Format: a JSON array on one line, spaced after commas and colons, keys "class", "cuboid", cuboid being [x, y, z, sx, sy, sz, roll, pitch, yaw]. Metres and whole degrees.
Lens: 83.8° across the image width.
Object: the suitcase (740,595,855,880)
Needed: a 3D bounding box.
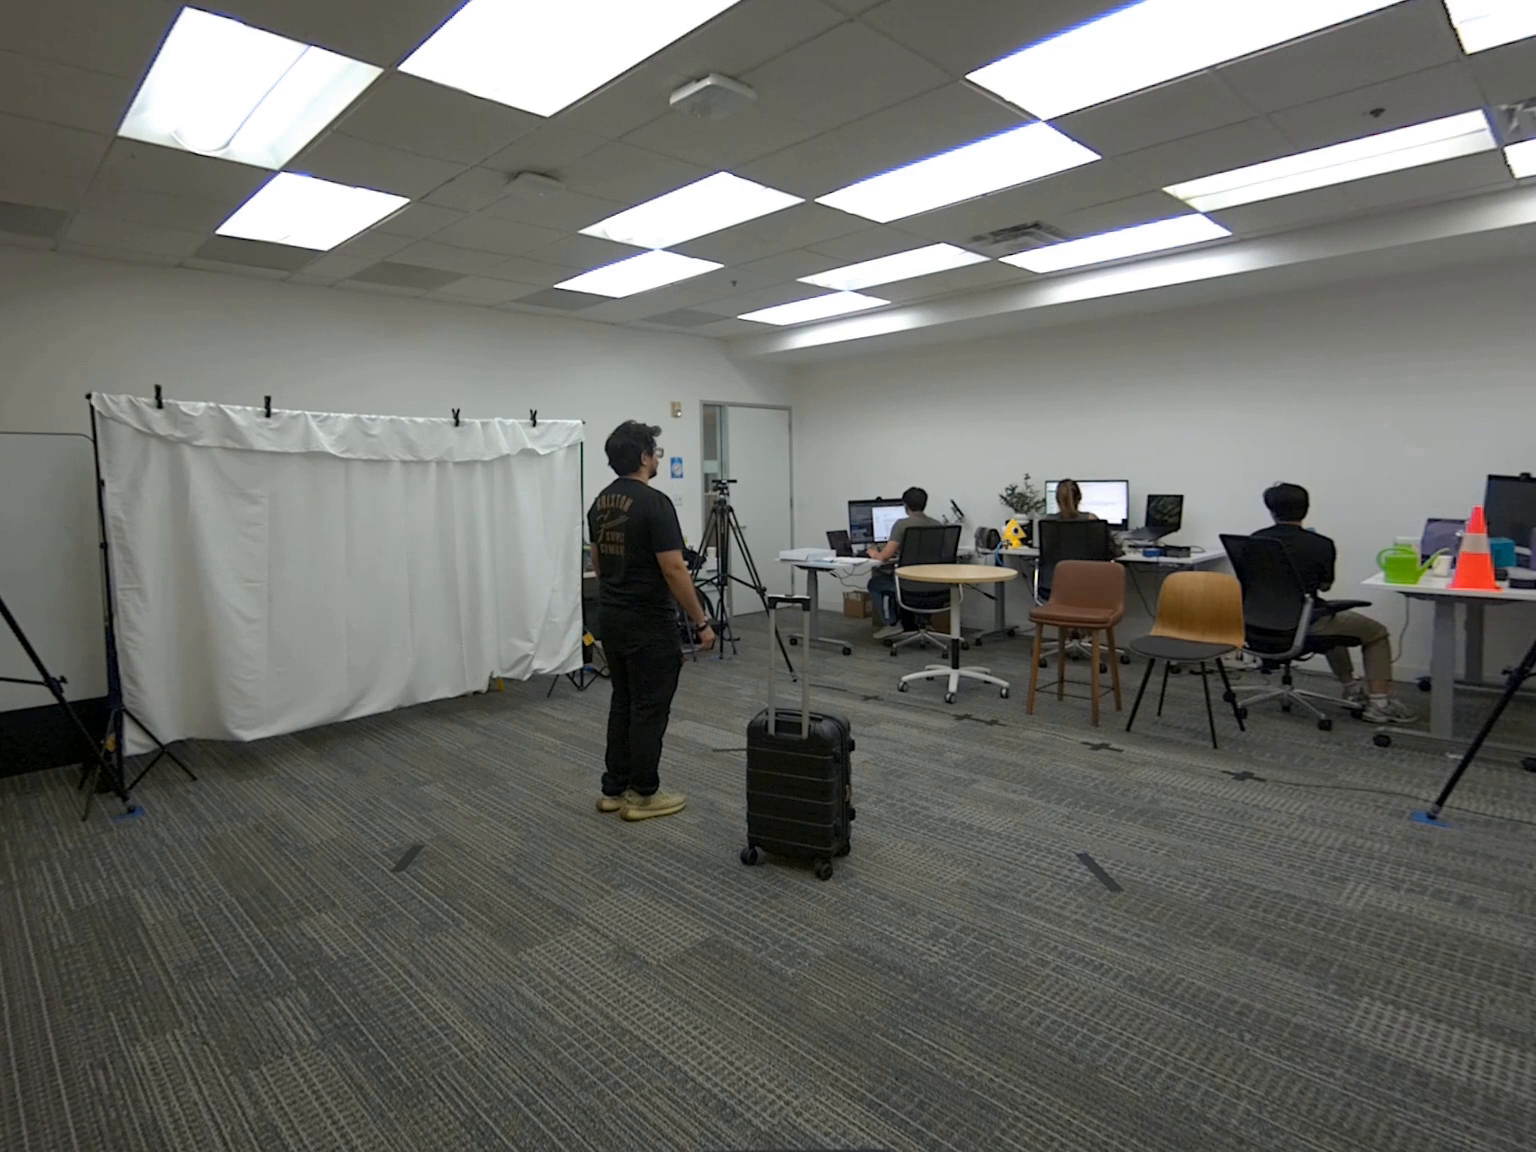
[{"class": "suitcase", "cuboid": [0.115, 0.566, 3.145, 0.393, 0.979, 0.251, 1, 0, 24]}]
